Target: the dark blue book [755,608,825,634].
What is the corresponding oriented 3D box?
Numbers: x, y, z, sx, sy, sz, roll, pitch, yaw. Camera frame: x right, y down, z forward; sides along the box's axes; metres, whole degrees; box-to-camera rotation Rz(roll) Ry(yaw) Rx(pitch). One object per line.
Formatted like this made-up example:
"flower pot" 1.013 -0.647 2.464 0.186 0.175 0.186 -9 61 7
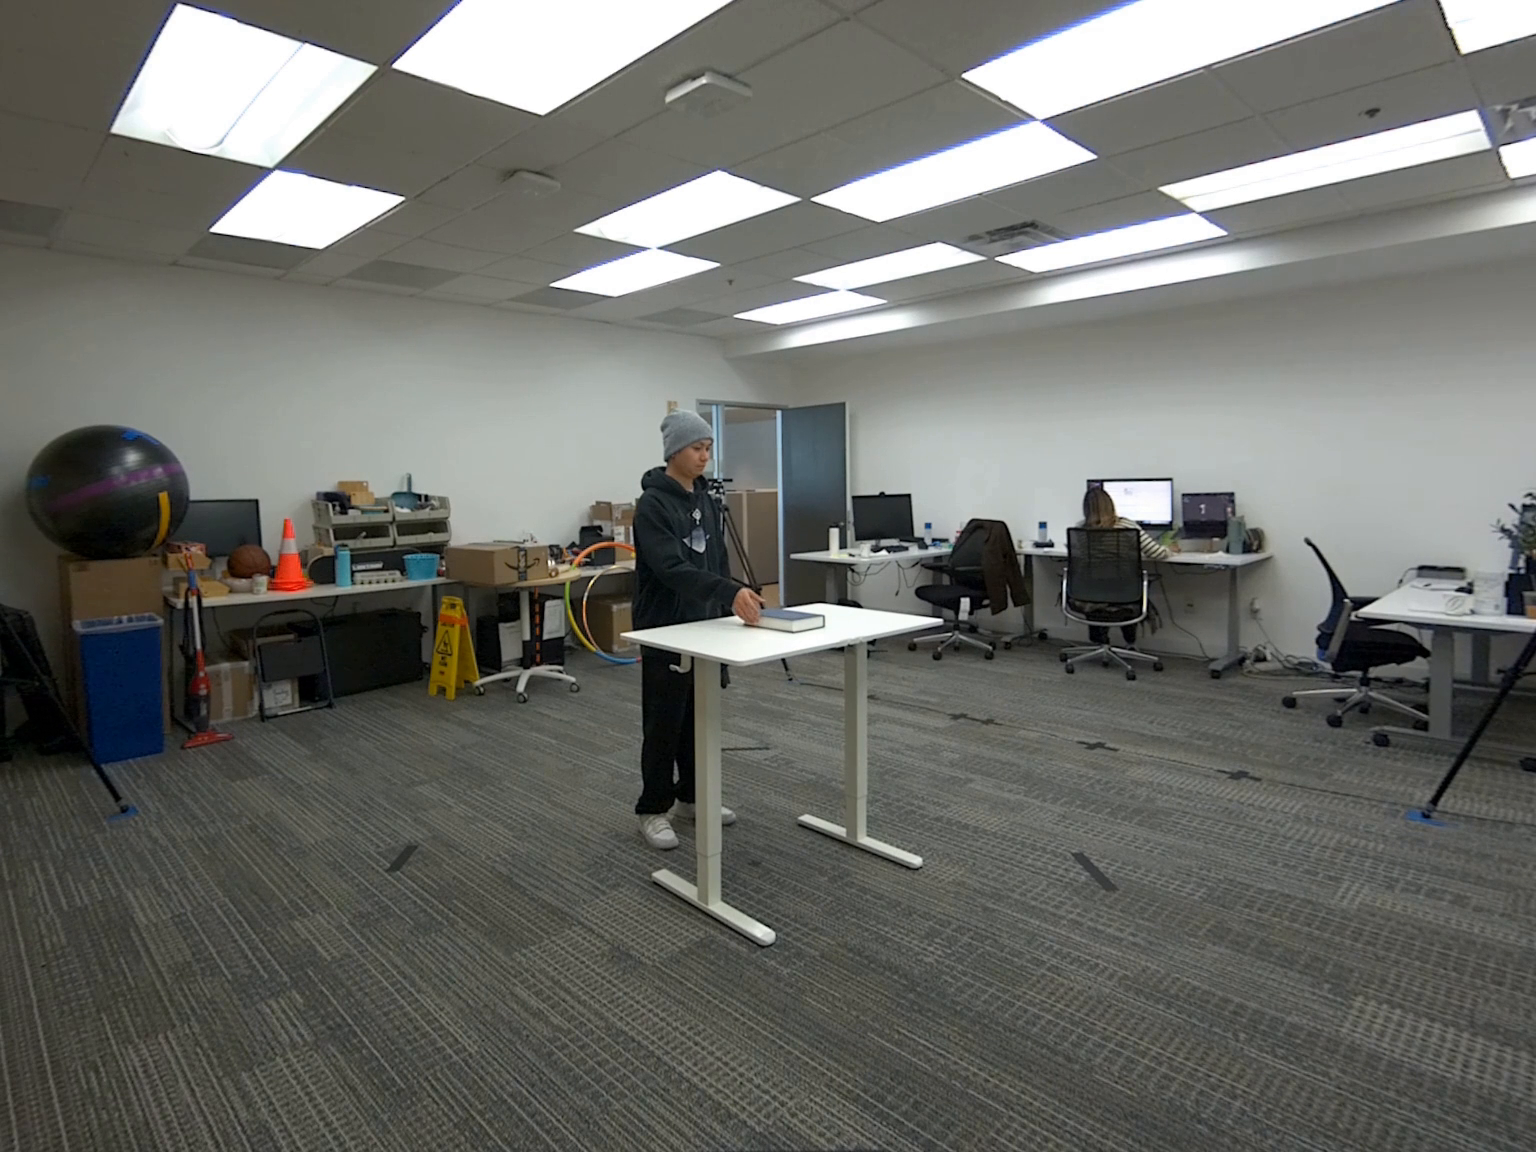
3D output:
"dark blue book" 0.063 0.155 2.978 0.159 0.045 0.253 -6 8 -42
